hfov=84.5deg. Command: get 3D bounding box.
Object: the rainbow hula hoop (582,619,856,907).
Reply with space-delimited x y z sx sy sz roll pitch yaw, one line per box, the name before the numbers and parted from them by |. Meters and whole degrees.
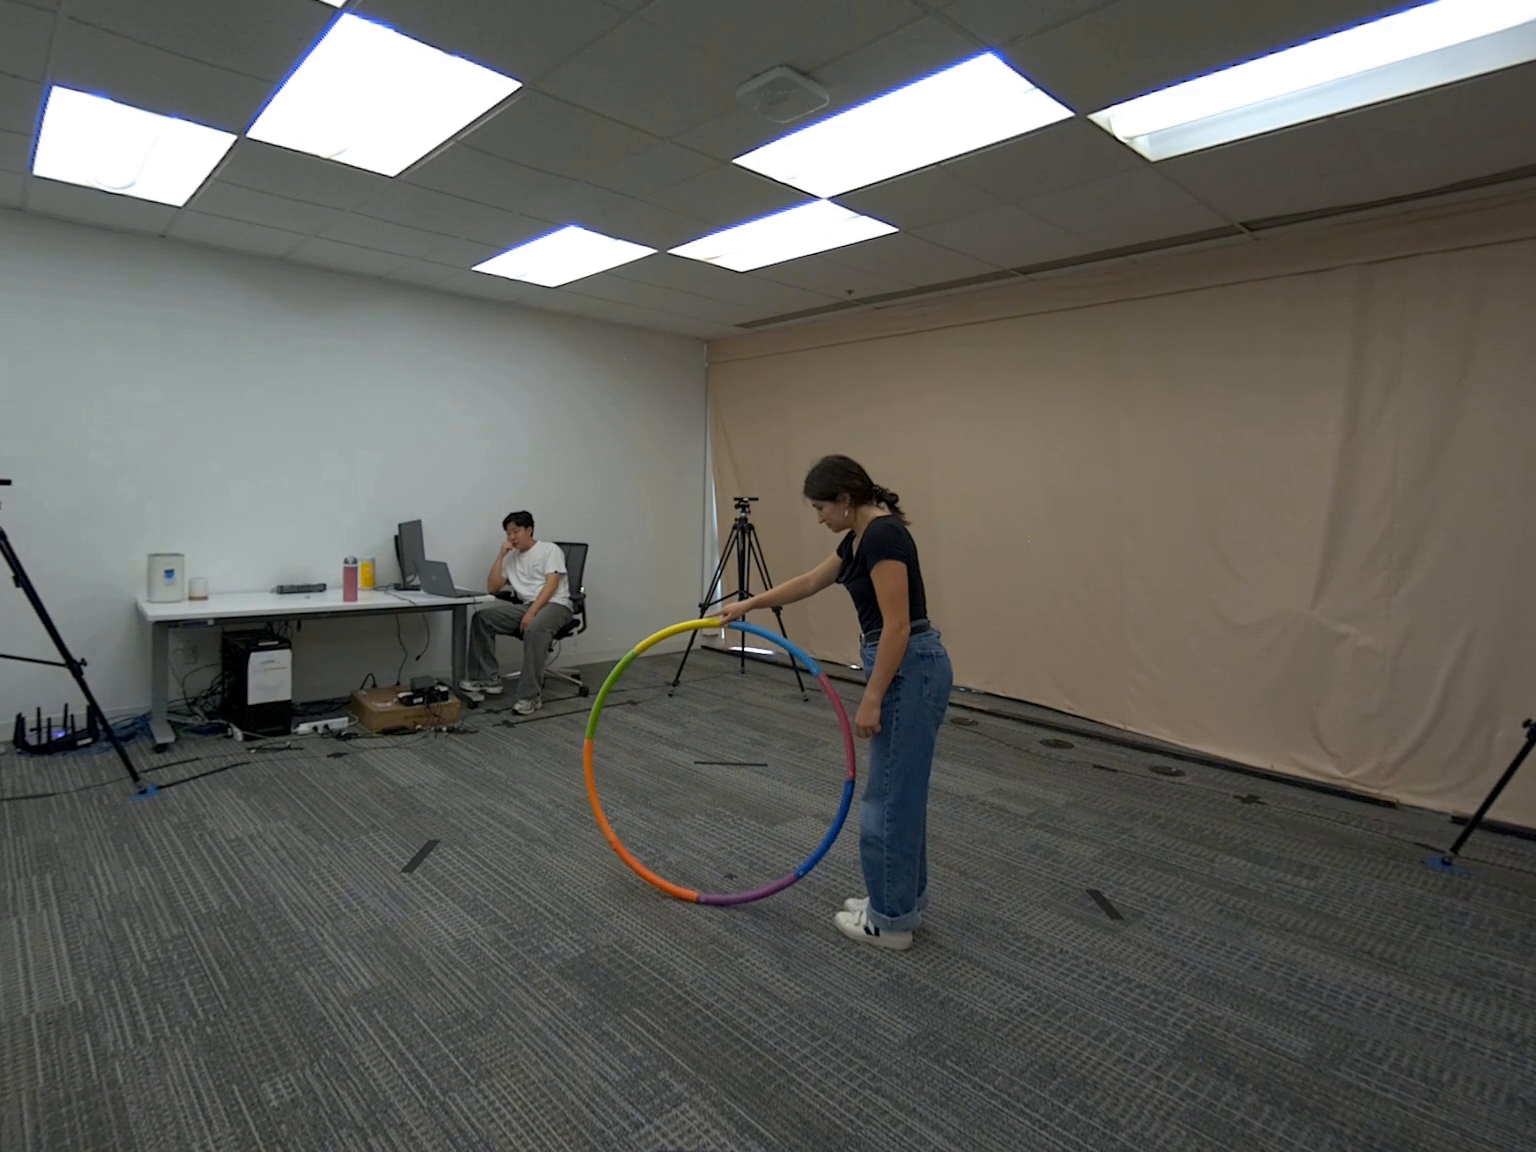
rainbow hula hoop | -0.204 0.645 2.938 0.992 0.983 0.035 2 -7 17
